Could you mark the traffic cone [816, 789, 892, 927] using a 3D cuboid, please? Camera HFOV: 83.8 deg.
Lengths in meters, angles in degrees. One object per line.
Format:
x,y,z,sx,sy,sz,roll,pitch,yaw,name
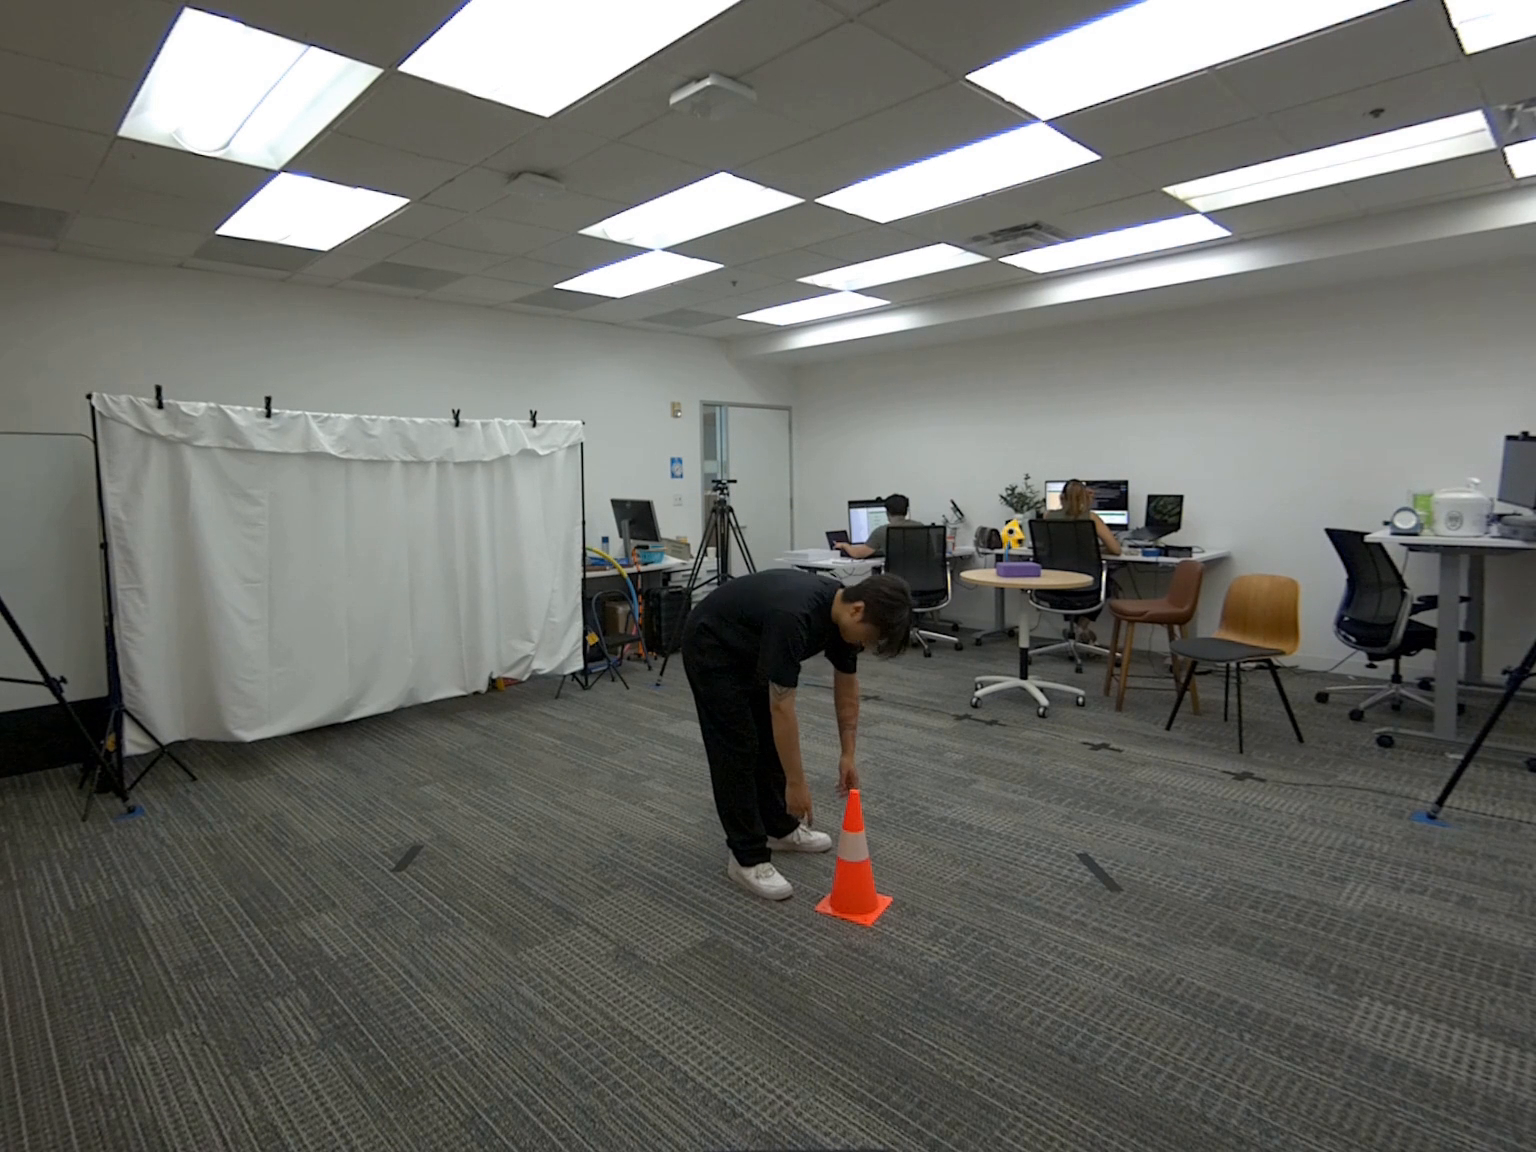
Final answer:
0.276,0.886,2.787,0.211,0.382,0.198,1,6,36,traffic cone
